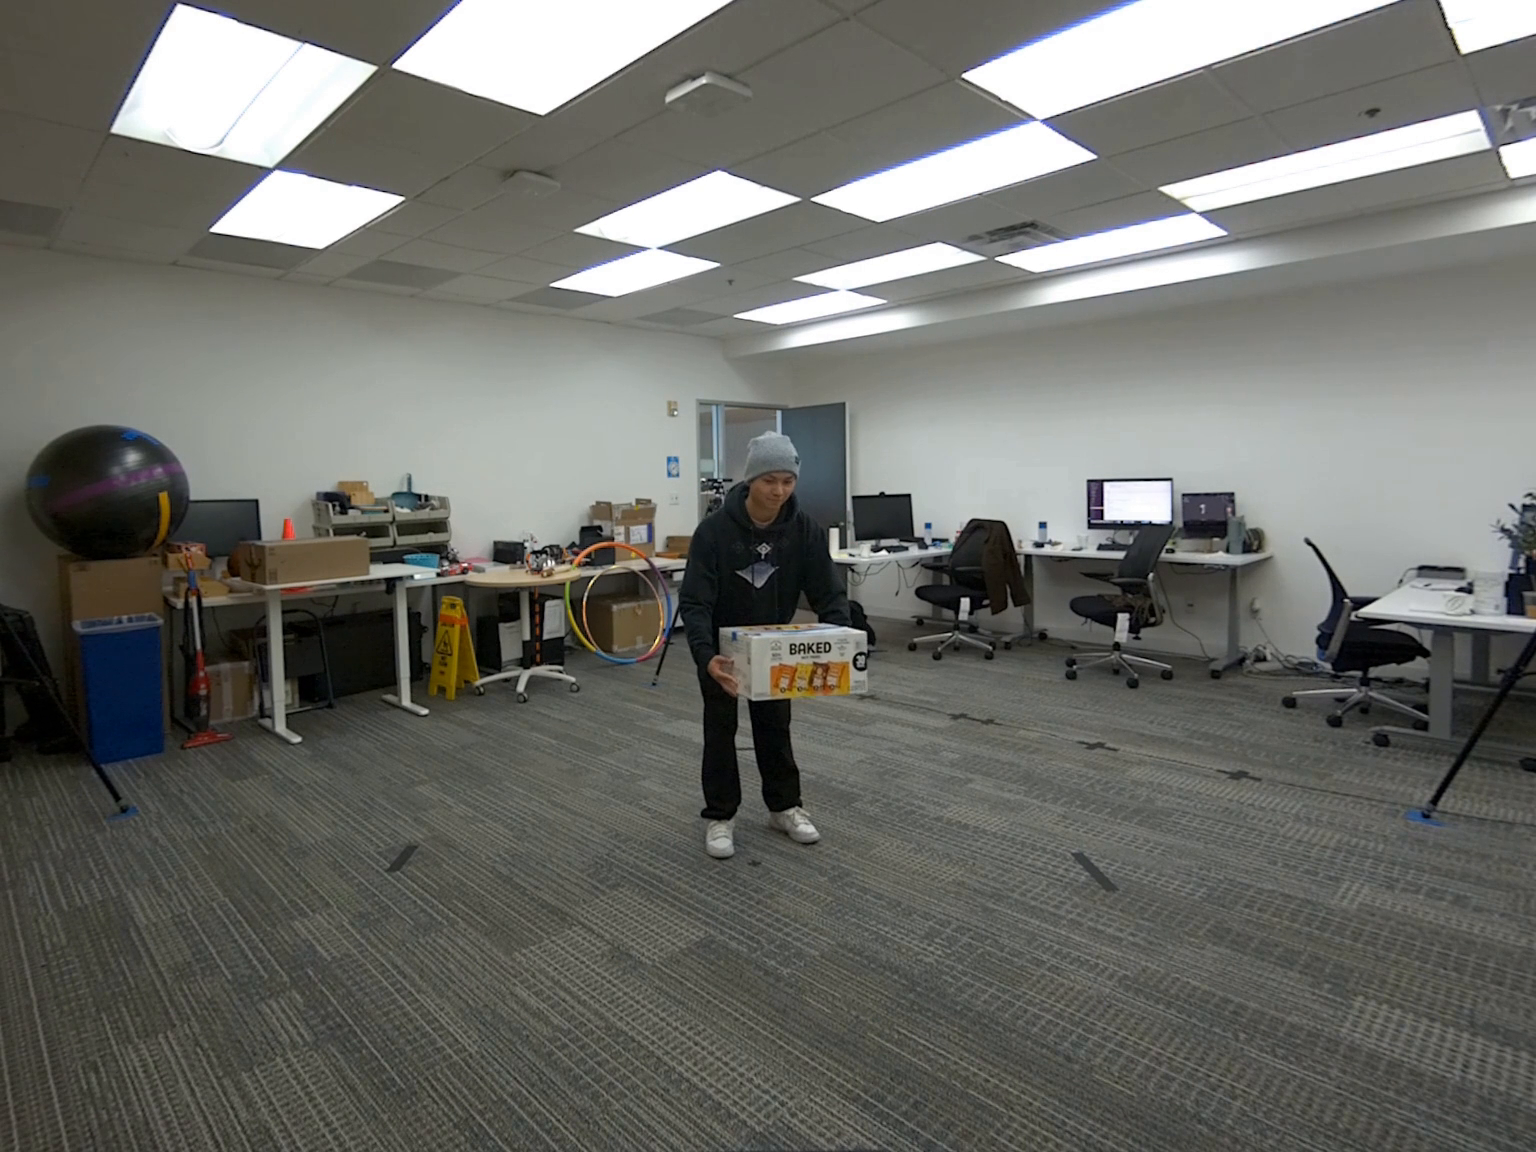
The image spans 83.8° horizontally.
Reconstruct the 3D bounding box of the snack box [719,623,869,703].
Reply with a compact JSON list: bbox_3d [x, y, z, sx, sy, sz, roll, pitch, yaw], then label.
[{"bbox_3d":[0.077,0.288,2.896,0.398,0.206,0.346,-2,1,-19],"label":"snack box"}]
